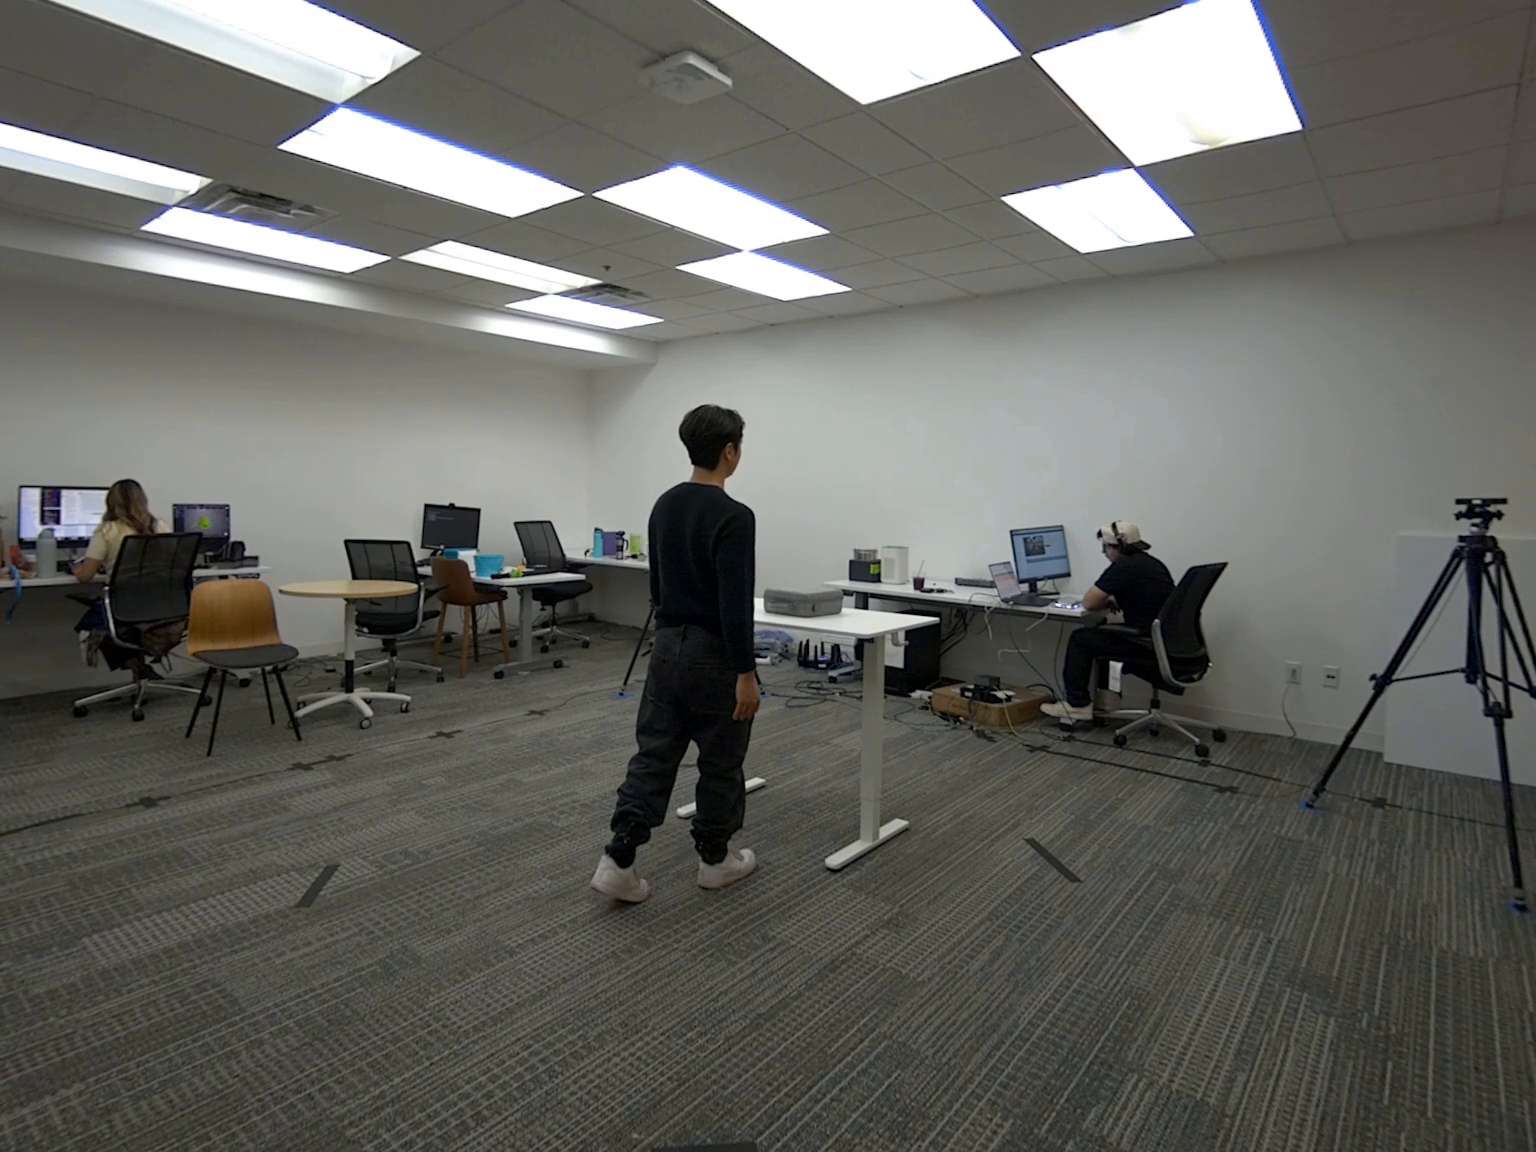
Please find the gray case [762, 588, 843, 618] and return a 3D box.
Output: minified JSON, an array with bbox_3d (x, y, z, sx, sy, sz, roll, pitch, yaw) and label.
[{"bbox_3d":[0.142,0.098,3.555,0.266,0.104,0.253,6,8,43],"label":"gray case"}]
